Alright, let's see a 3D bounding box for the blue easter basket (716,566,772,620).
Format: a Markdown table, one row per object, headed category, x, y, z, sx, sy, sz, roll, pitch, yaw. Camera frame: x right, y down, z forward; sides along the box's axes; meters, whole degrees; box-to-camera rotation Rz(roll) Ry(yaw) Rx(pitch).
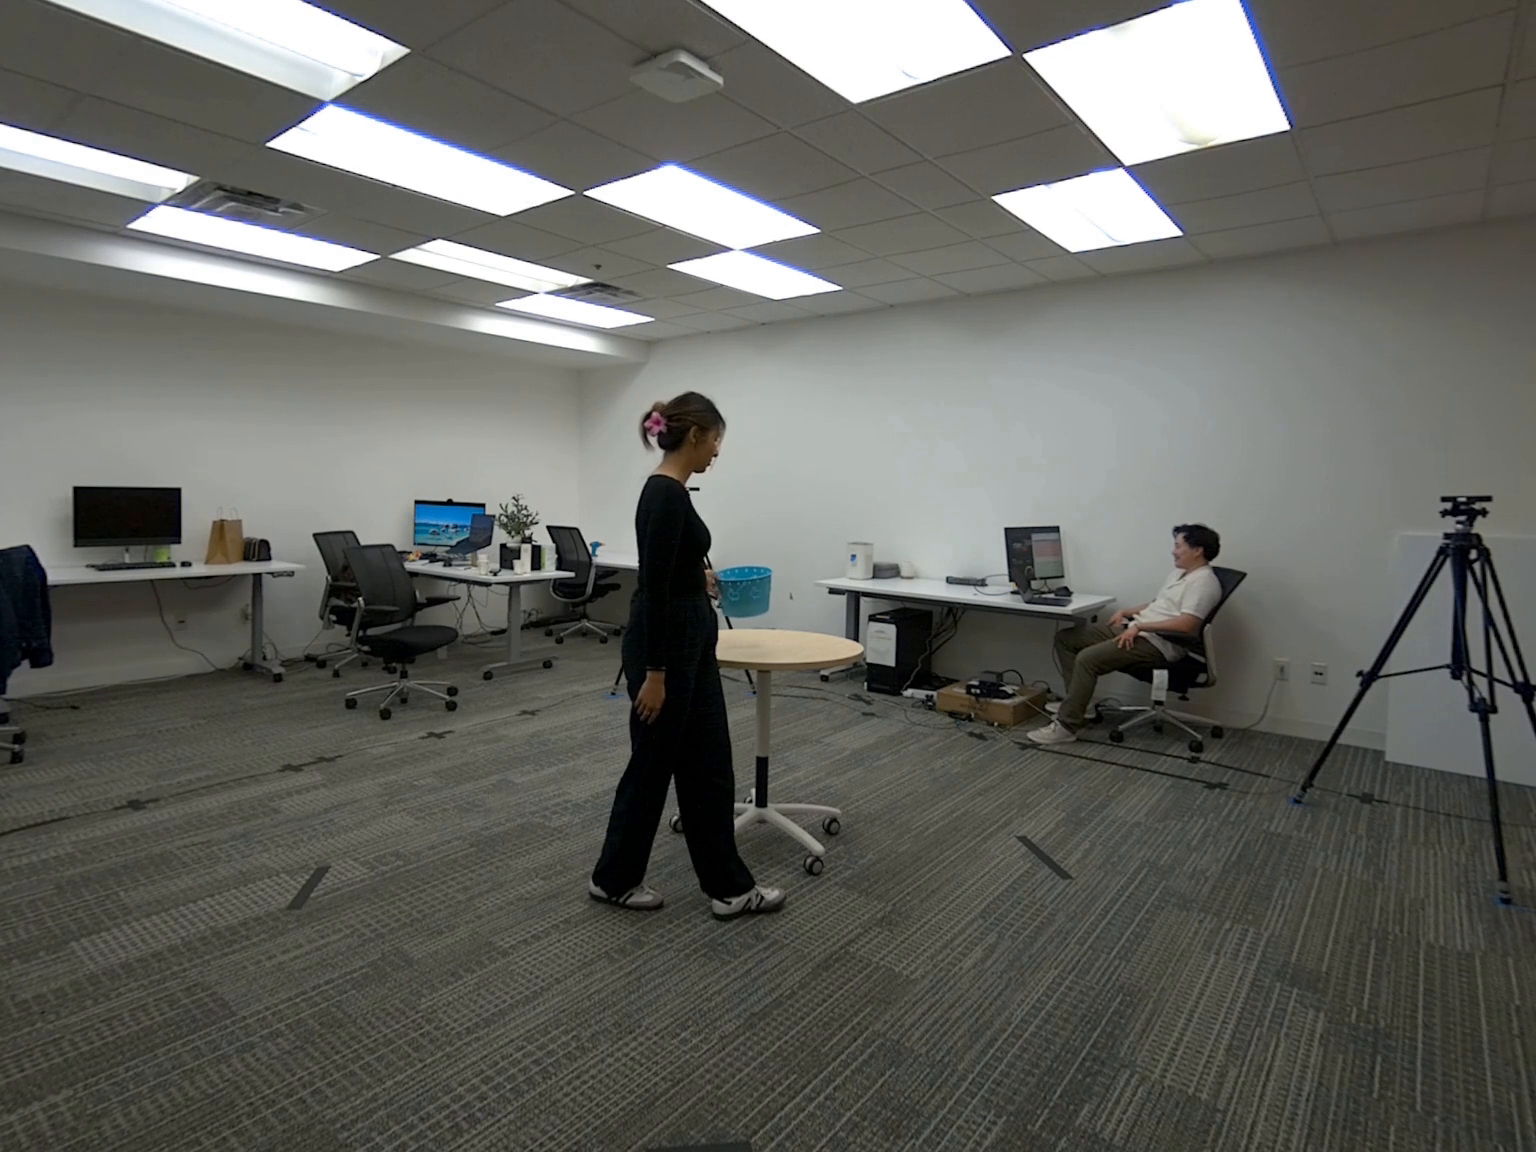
| category | x | y | z | sx | sy | sz | roll | pitch | yaw |
| --- | --- | --- | --- | --- | --- | --- | --- | --- | --- |
| blue easter basket | -0.106 | 0.056 | 3.262 | 0.243 | 0.154 | 0.246 | -3 | 10 | -1 |
